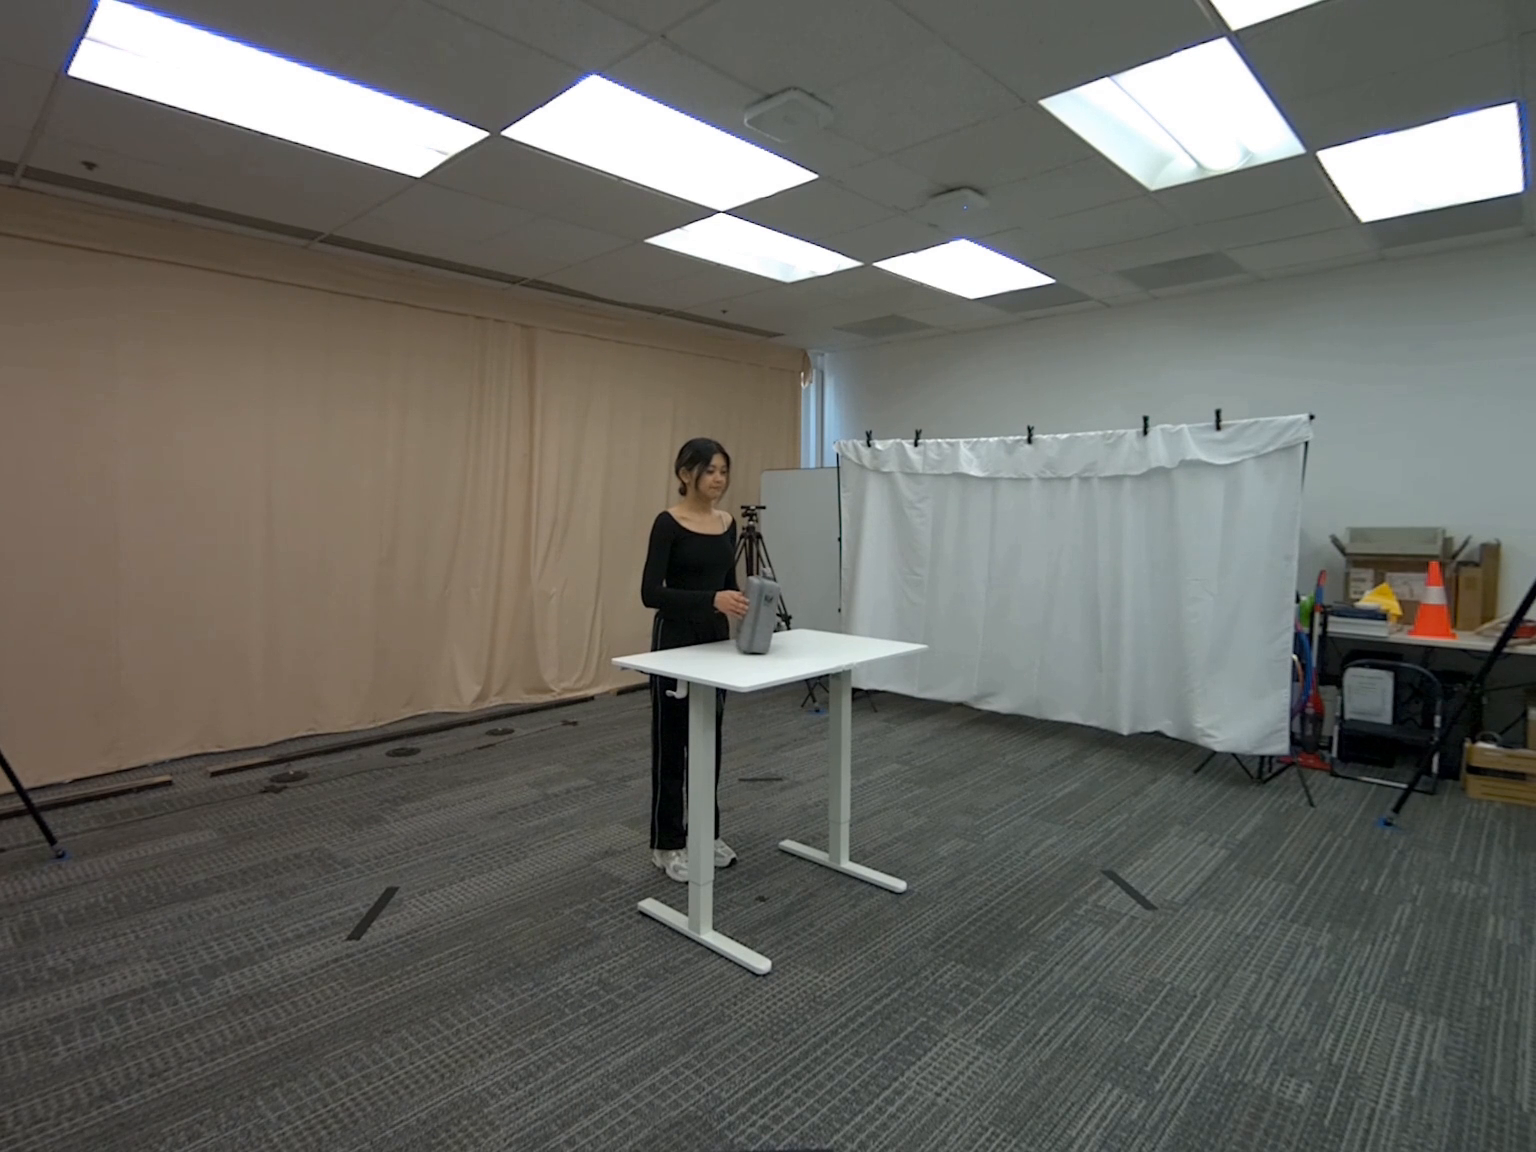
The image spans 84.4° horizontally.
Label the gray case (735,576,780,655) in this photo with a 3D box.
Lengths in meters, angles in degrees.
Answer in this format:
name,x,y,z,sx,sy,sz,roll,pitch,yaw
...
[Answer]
name,x,y,z,sx,sy,sz,roll,pitch,yaw
gray case,-0.034,0.132,2.968,0.103,0.260,0.259,10,3,-9
